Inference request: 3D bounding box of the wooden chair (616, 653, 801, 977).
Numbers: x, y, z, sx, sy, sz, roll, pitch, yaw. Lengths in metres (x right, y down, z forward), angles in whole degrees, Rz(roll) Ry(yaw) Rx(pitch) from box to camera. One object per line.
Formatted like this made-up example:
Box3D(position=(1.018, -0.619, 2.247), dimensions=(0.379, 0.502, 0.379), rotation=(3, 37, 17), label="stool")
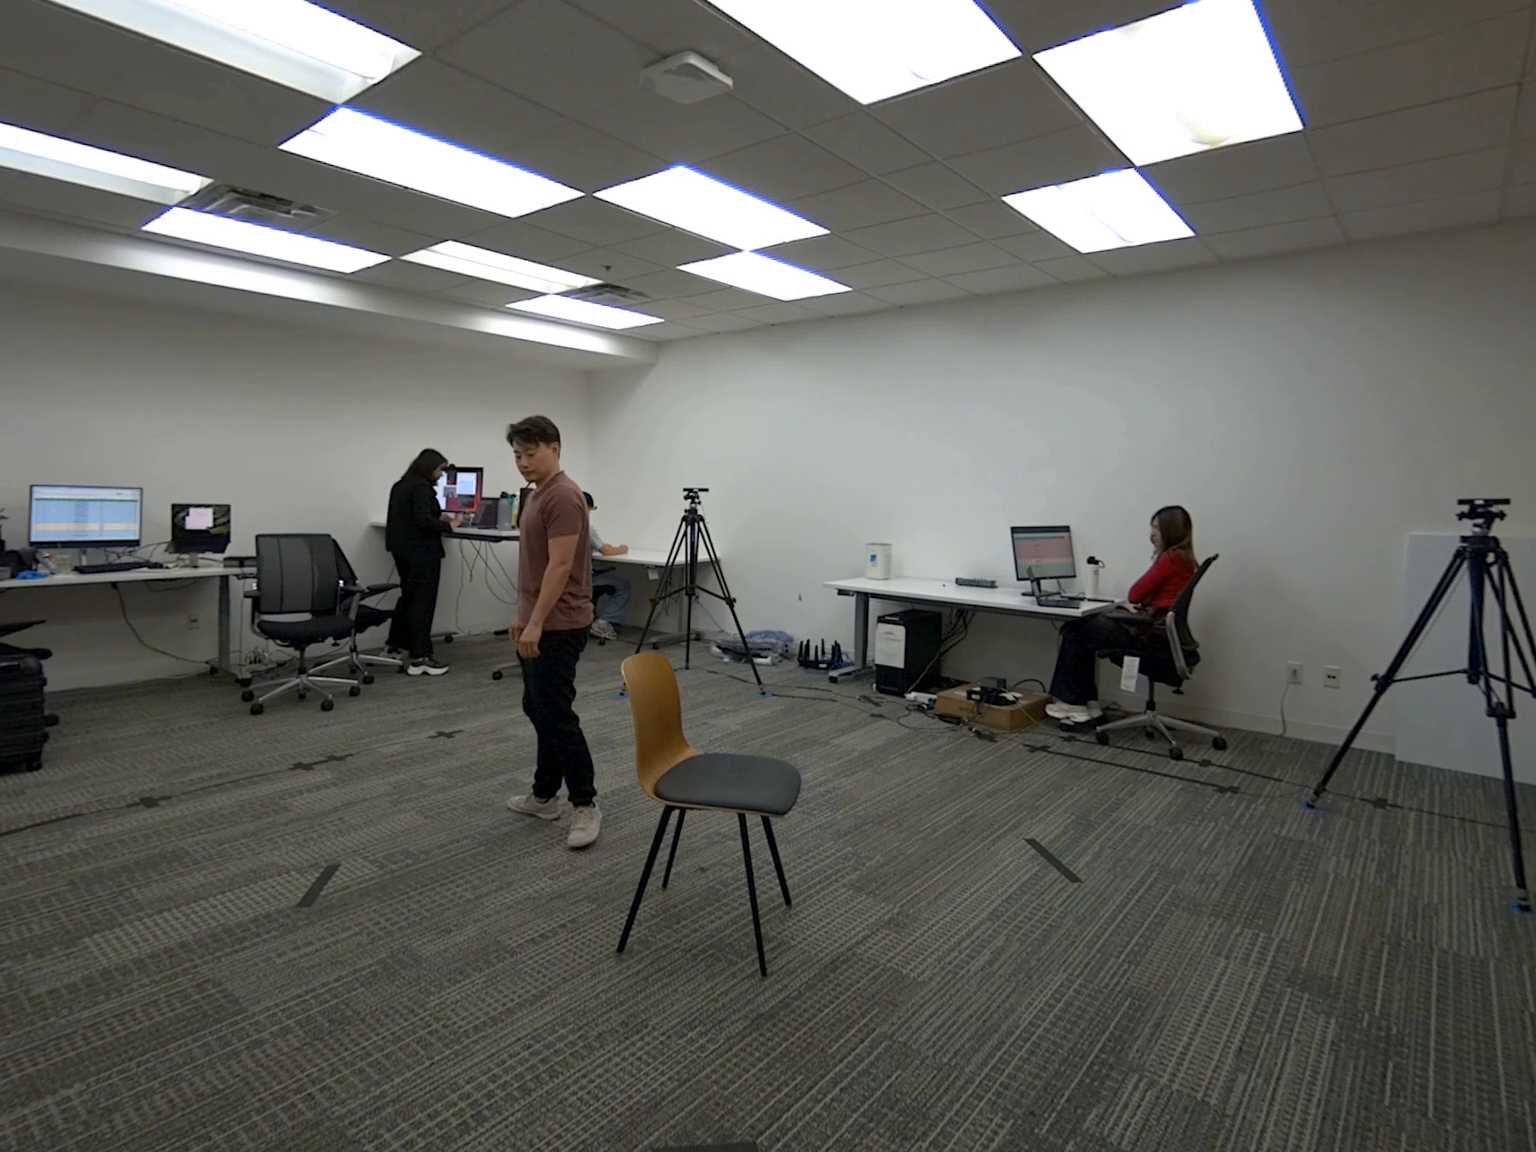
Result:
Box3D(position=(-0.174, 0.686, 2.669), dimensions=(0.531, 0.876, 0.472), rotation=(-2, 2, 14), label="wooden chair")
